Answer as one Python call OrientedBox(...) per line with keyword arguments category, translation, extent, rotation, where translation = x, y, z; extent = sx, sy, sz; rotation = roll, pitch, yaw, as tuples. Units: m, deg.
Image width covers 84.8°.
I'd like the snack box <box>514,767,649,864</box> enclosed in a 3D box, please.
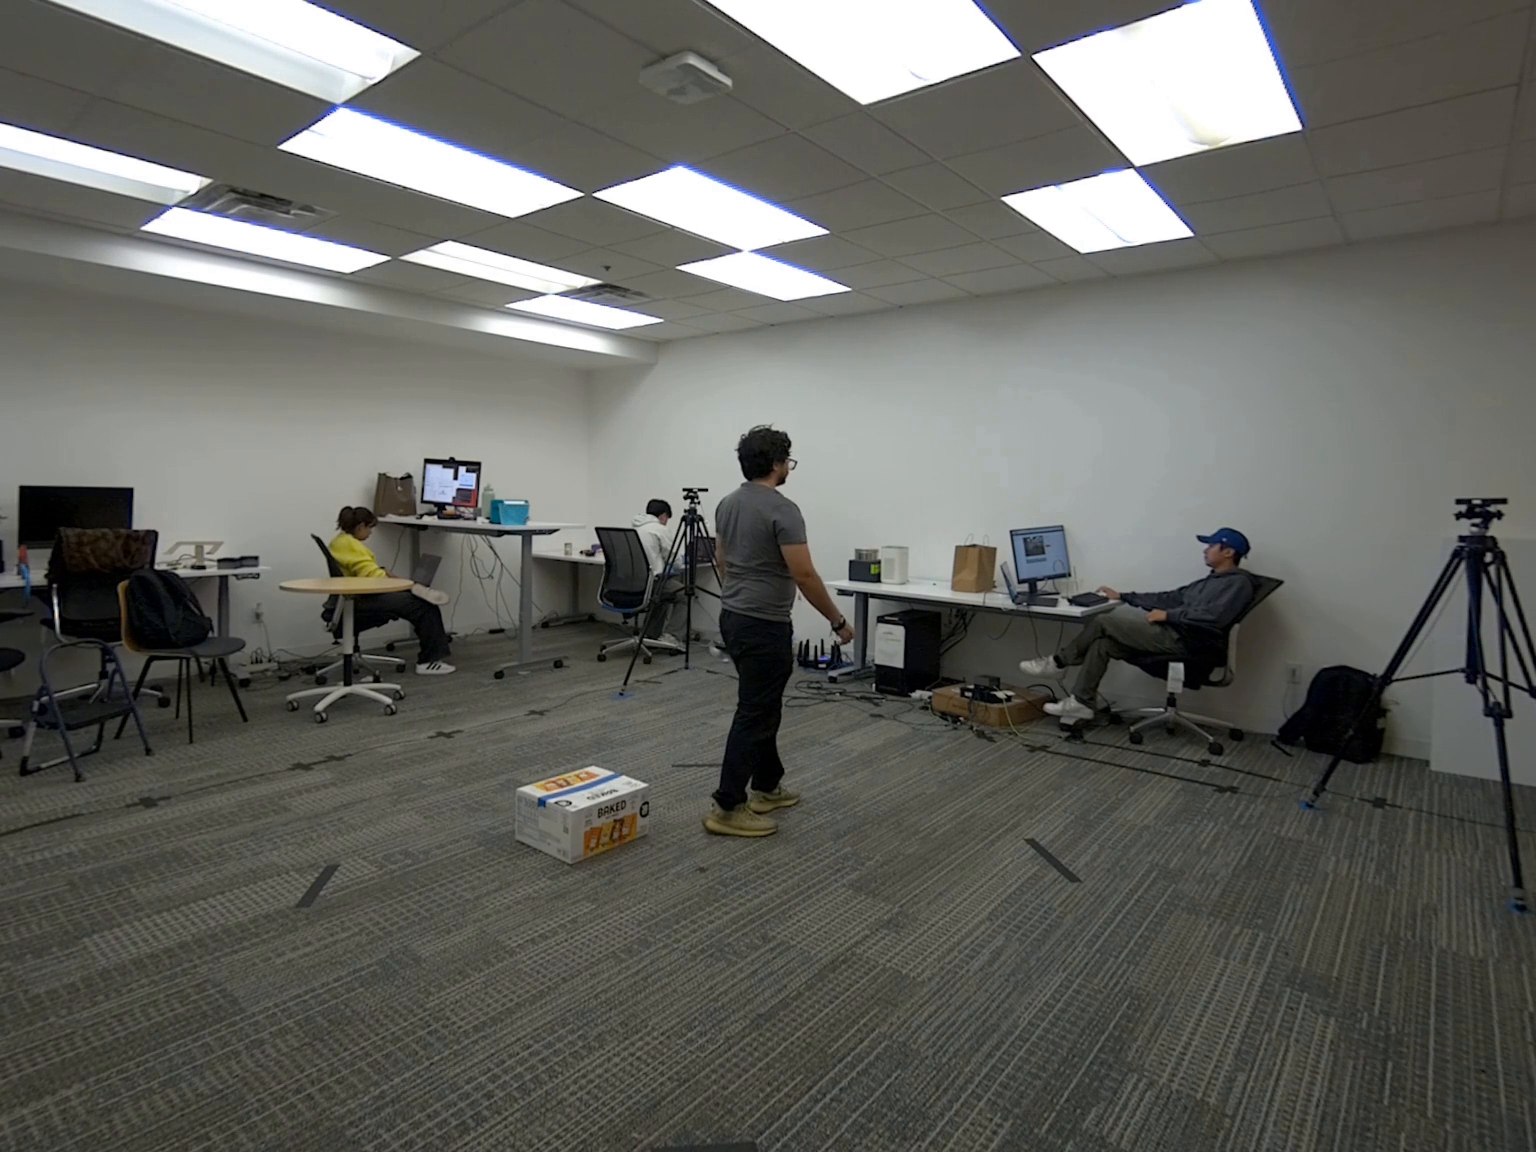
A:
OrientedBox(category="snack box", translation=(-0.747, 0.935, 3.369), extent=(0.352, 0.205, 0.393), rotation=(5, 6, 38))
